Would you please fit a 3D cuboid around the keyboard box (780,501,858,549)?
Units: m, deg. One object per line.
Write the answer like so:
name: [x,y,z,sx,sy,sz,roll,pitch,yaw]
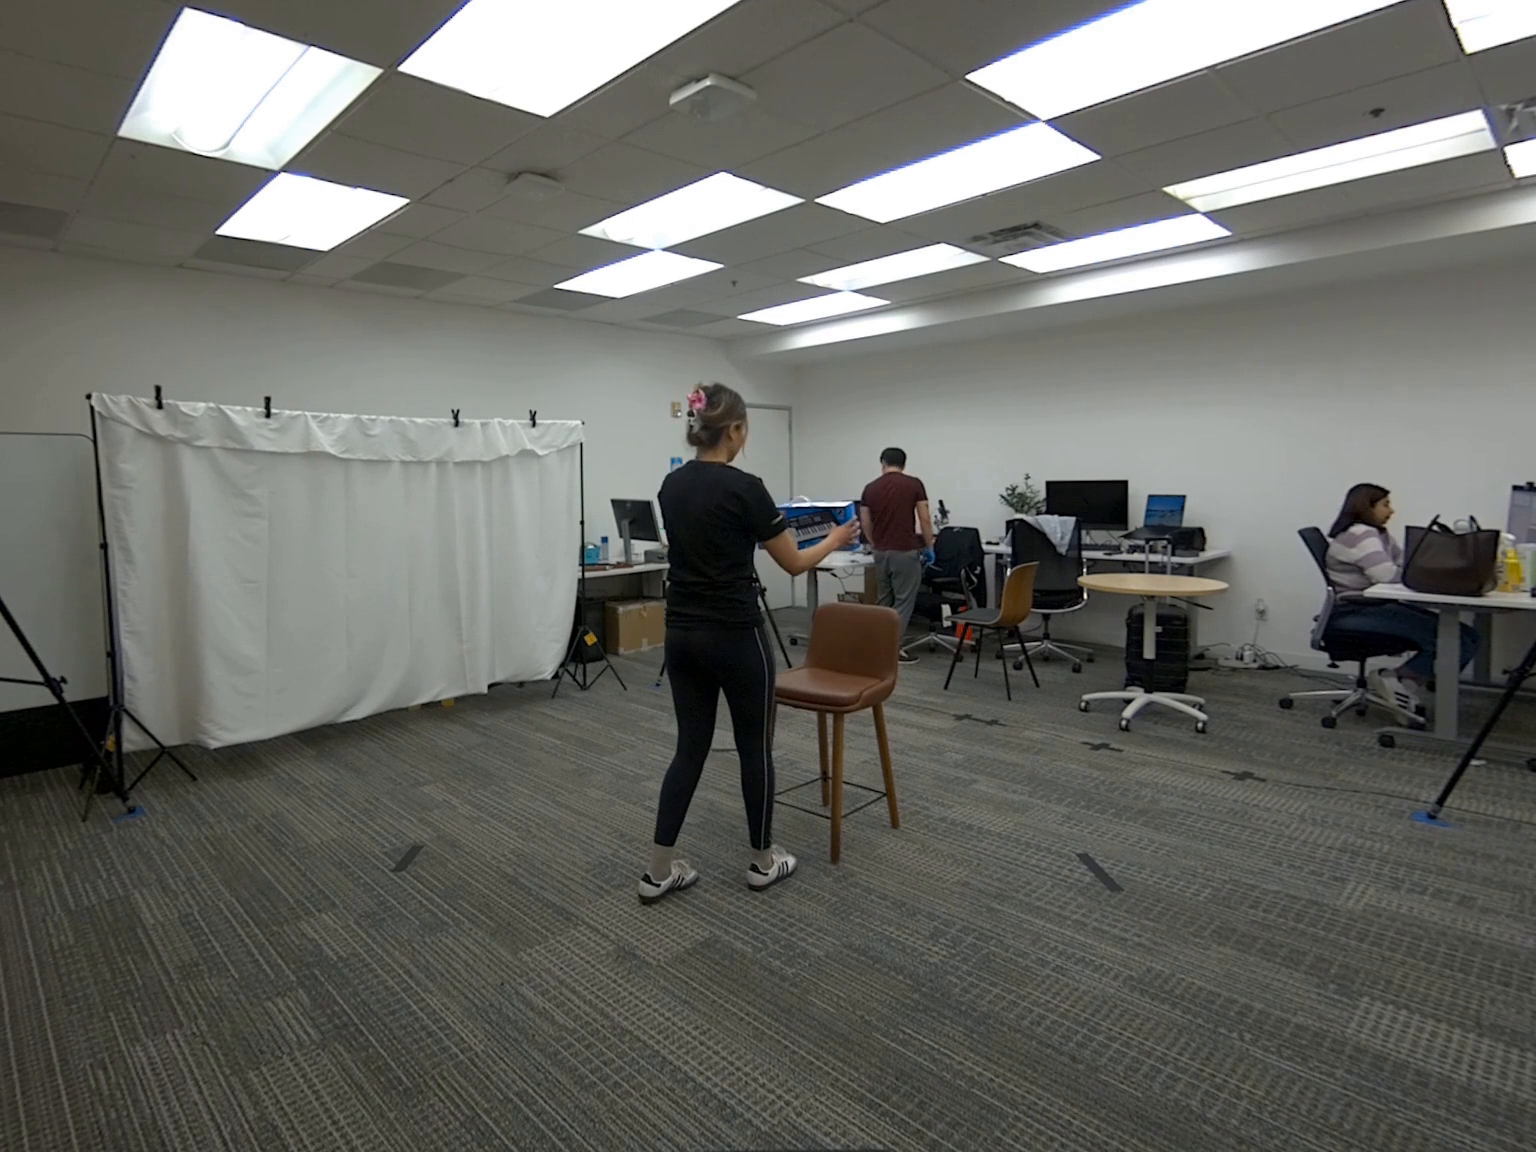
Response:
keyboard box: [0.138,-0.181,3.232,0.450,0.174,0.058,2,15,40]
